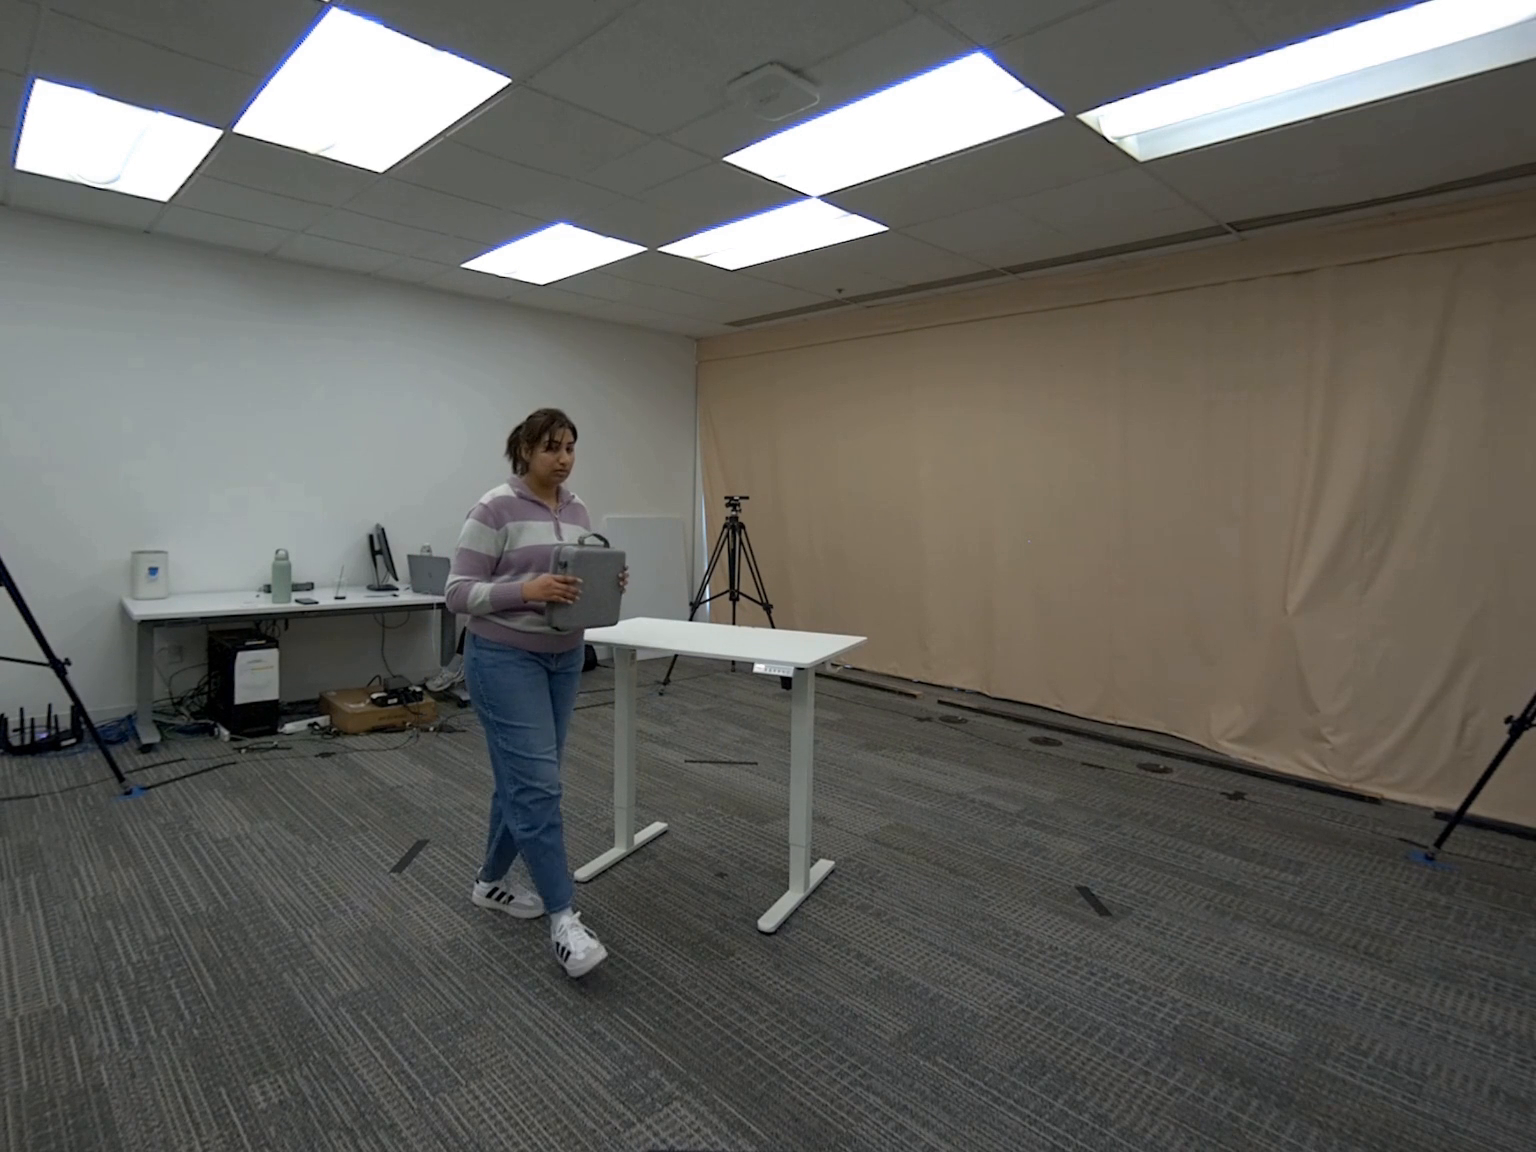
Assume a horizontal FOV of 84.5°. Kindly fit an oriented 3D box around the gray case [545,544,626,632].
[{"bbox_3d":[-0.559,0.032,2.552,0.107,0.260,0.252,9,5,27],"label":"gray case"}]
